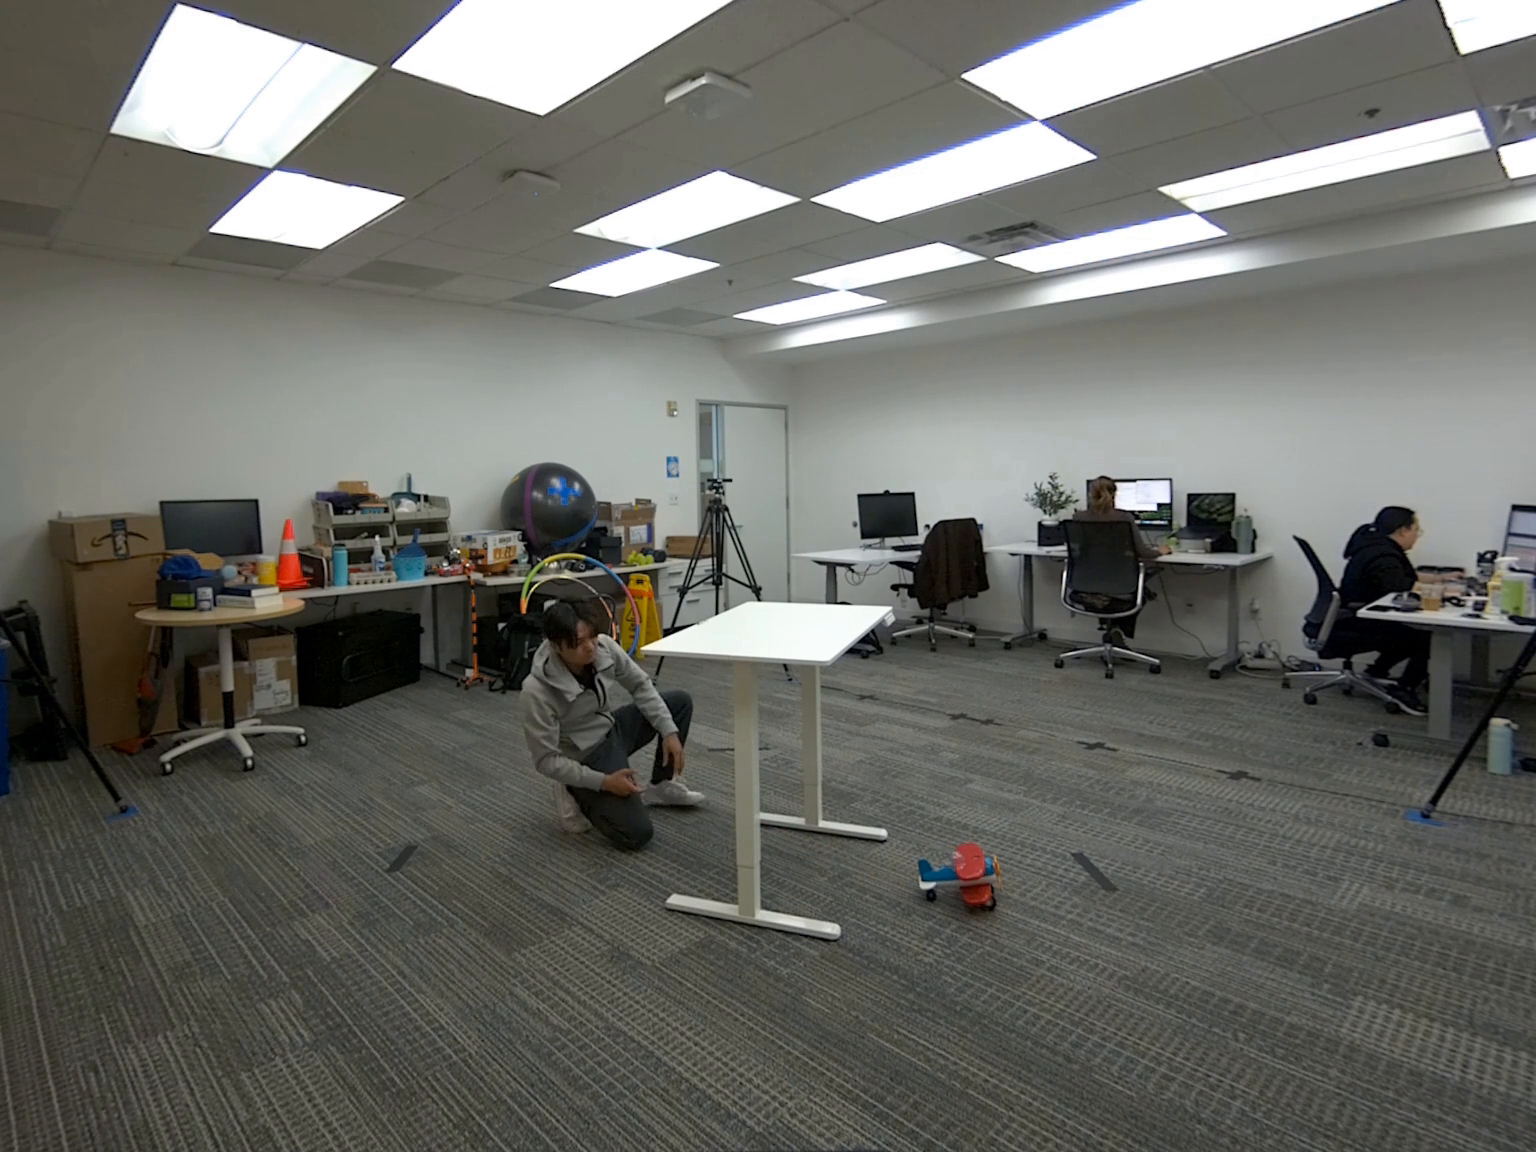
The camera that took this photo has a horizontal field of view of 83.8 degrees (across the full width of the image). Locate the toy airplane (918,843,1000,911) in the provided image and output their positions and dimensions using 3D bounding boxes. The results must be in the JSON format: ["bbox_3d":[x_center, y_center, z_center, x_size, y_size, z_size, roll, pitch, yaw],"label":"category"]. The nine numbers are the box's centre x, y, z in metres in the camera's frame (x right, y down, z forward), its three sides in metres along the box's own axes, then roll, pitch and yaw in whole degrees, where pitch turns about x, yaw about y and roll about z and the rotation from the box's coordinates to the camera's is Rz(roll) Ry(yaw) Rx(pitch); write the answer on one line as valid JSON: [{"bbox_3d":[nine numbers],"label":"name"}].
[{"bbox_3d":[0.637,0.997,2.787,0.255,0.156,0.256,-1,5,-17],"label":"toy airplane"}]
